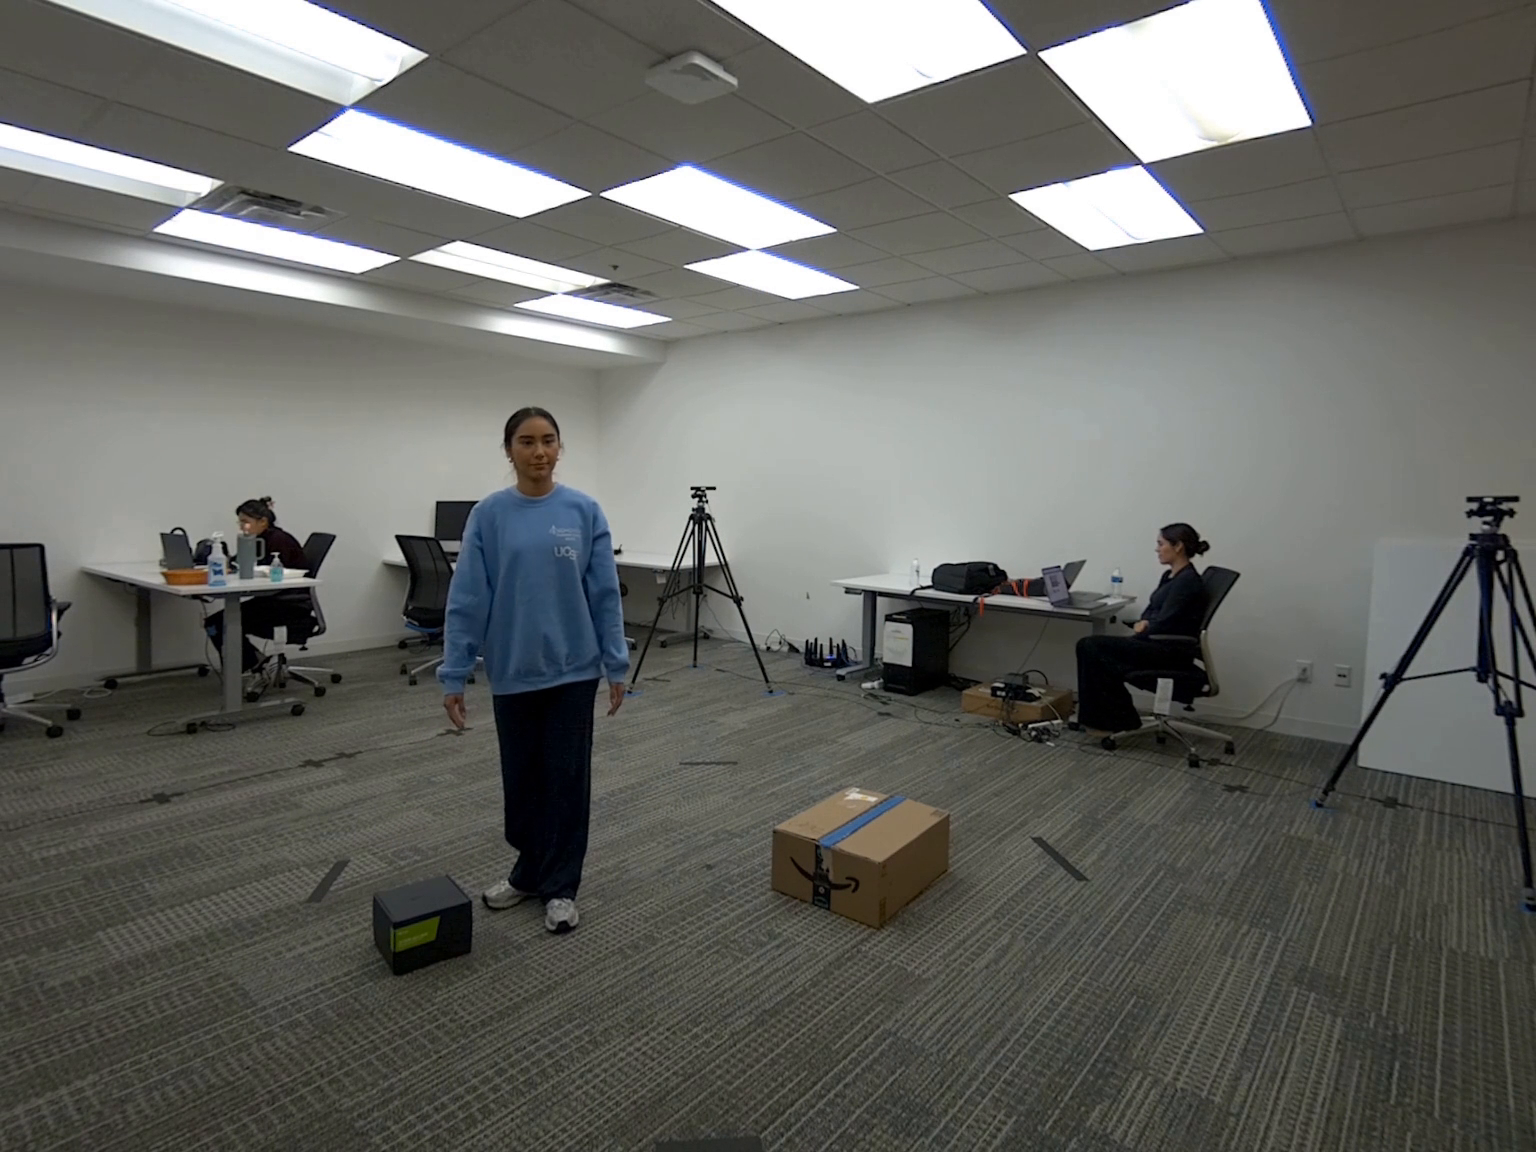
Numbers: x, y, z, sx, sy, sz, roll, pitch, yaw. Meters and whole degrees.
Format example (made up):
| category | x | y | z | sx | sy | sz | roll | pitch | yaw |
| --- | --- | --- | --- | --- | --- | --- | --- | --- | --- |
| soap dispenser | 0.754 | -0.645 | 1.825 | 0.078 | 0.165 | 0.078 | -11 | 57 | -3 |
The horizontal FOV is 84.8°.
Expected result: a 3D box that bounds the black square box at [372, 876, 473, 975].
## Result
| category | x | y | z | sx | sy | sz | roll | pitch | yaw |
| --- | --- | --- | --- | --- | --- | --- | --- | --- | --- |
| black square box | -1.046 | 1.028 | 2.541 | 0.221 | 0.155 | 0.224 | -4 | 8 | -40 |
